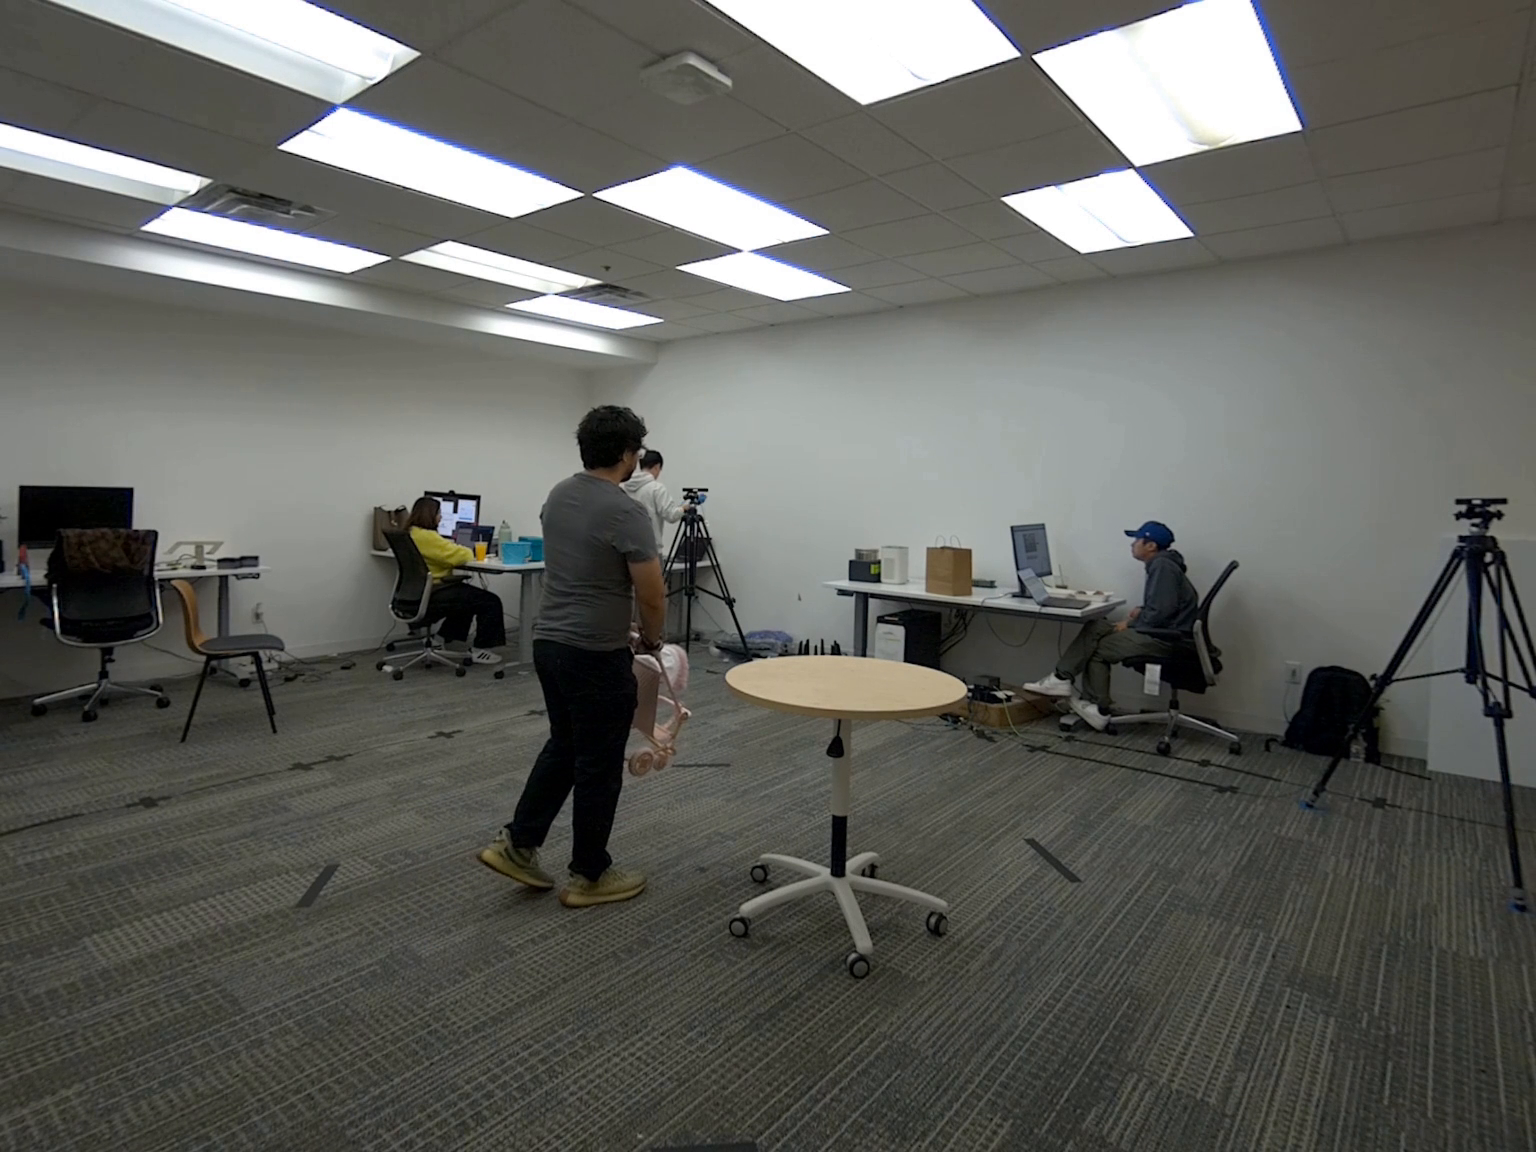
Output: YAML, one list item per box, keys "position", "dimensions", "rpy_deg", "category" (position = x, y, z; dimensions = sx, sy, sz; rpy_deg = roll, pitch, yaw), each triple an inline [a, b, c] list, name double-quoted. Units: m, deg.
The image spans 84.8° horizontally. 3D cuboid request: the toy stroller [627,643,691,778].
- position: [-0.449, 0.485, 3.170]
  dimensions: [0.293, 0.533, 0.329]
  rpy_deg: [20, 7, 43]
  category: "toy stroller"
